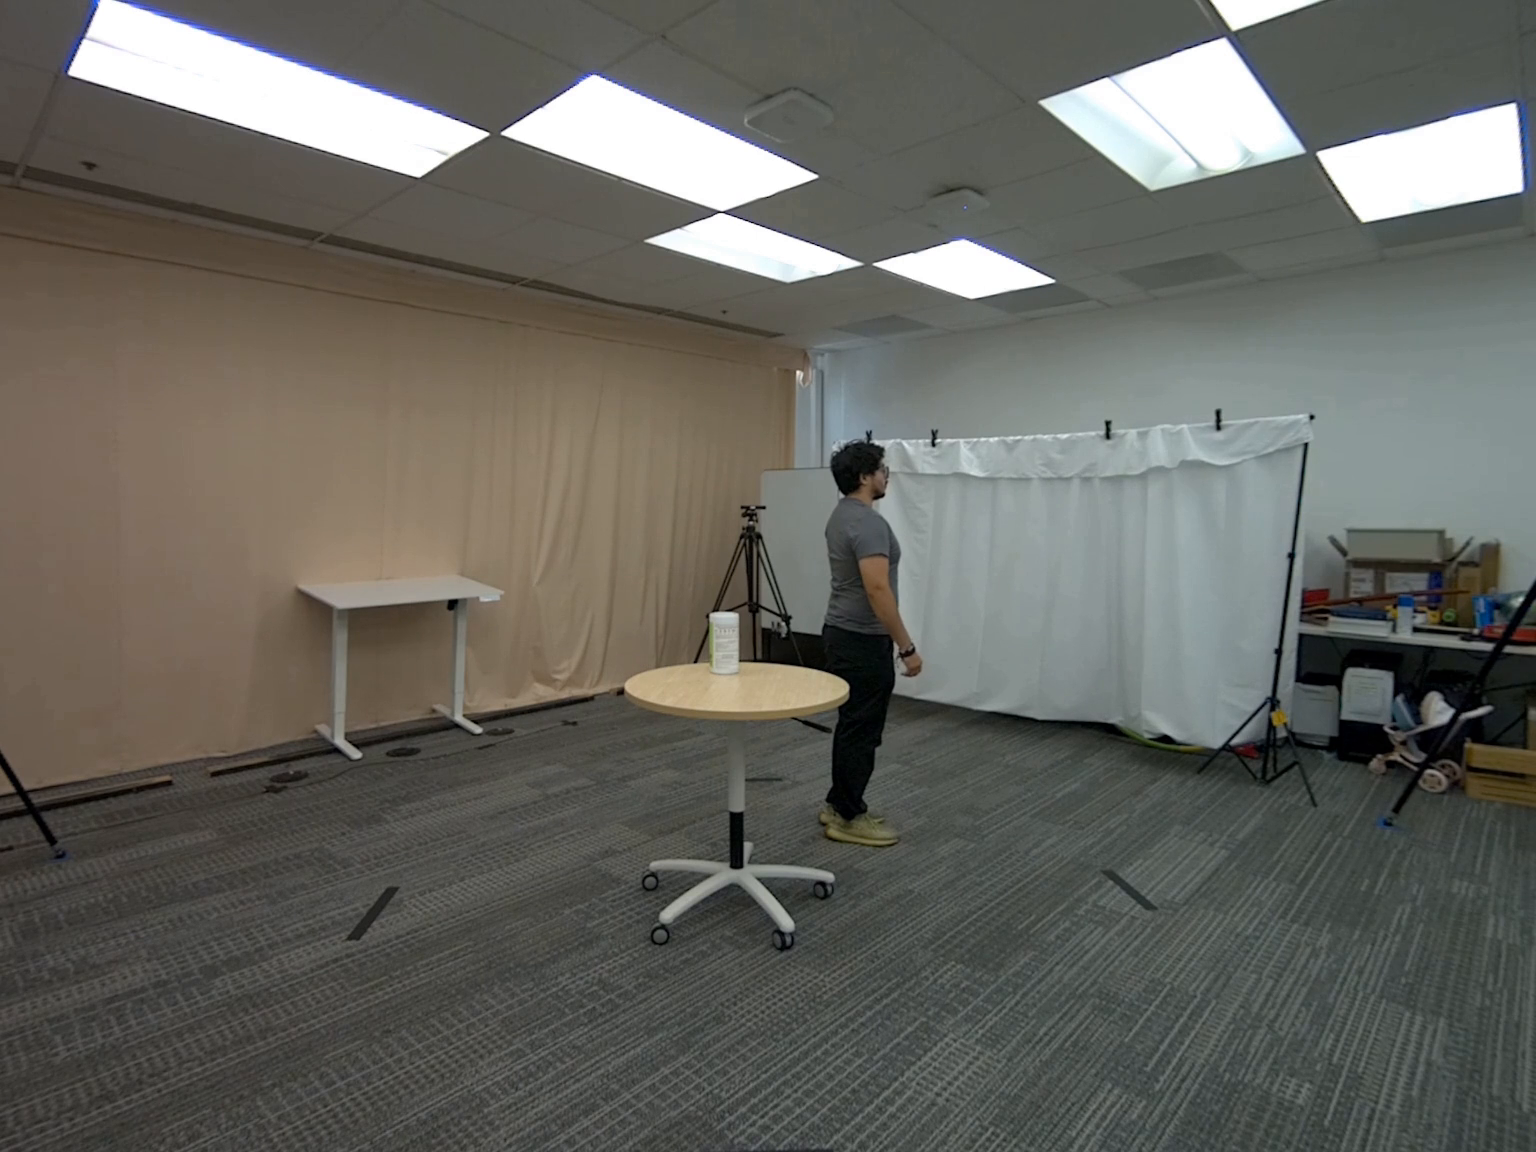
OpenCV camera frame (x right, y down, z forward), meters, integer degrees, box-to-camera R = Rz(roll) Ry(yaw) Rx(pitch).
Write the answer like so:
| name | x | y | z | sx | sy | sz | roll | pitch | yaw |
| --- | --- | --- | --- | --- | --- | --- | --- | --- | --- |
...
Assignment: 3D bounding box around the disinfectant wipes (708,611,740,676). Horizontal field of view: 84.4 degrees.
| name | x | y | z | sx | sy | sz | roll | pitch | yaw |
| --- | --- | --- | --- | --- | --- | --- | --- | --- | --- |
| disinfectant wipes | -0.155 | 0.248 | 3.076 | 0.118 | 0.217 | 0.118 | 0 | 2 | -2 |
